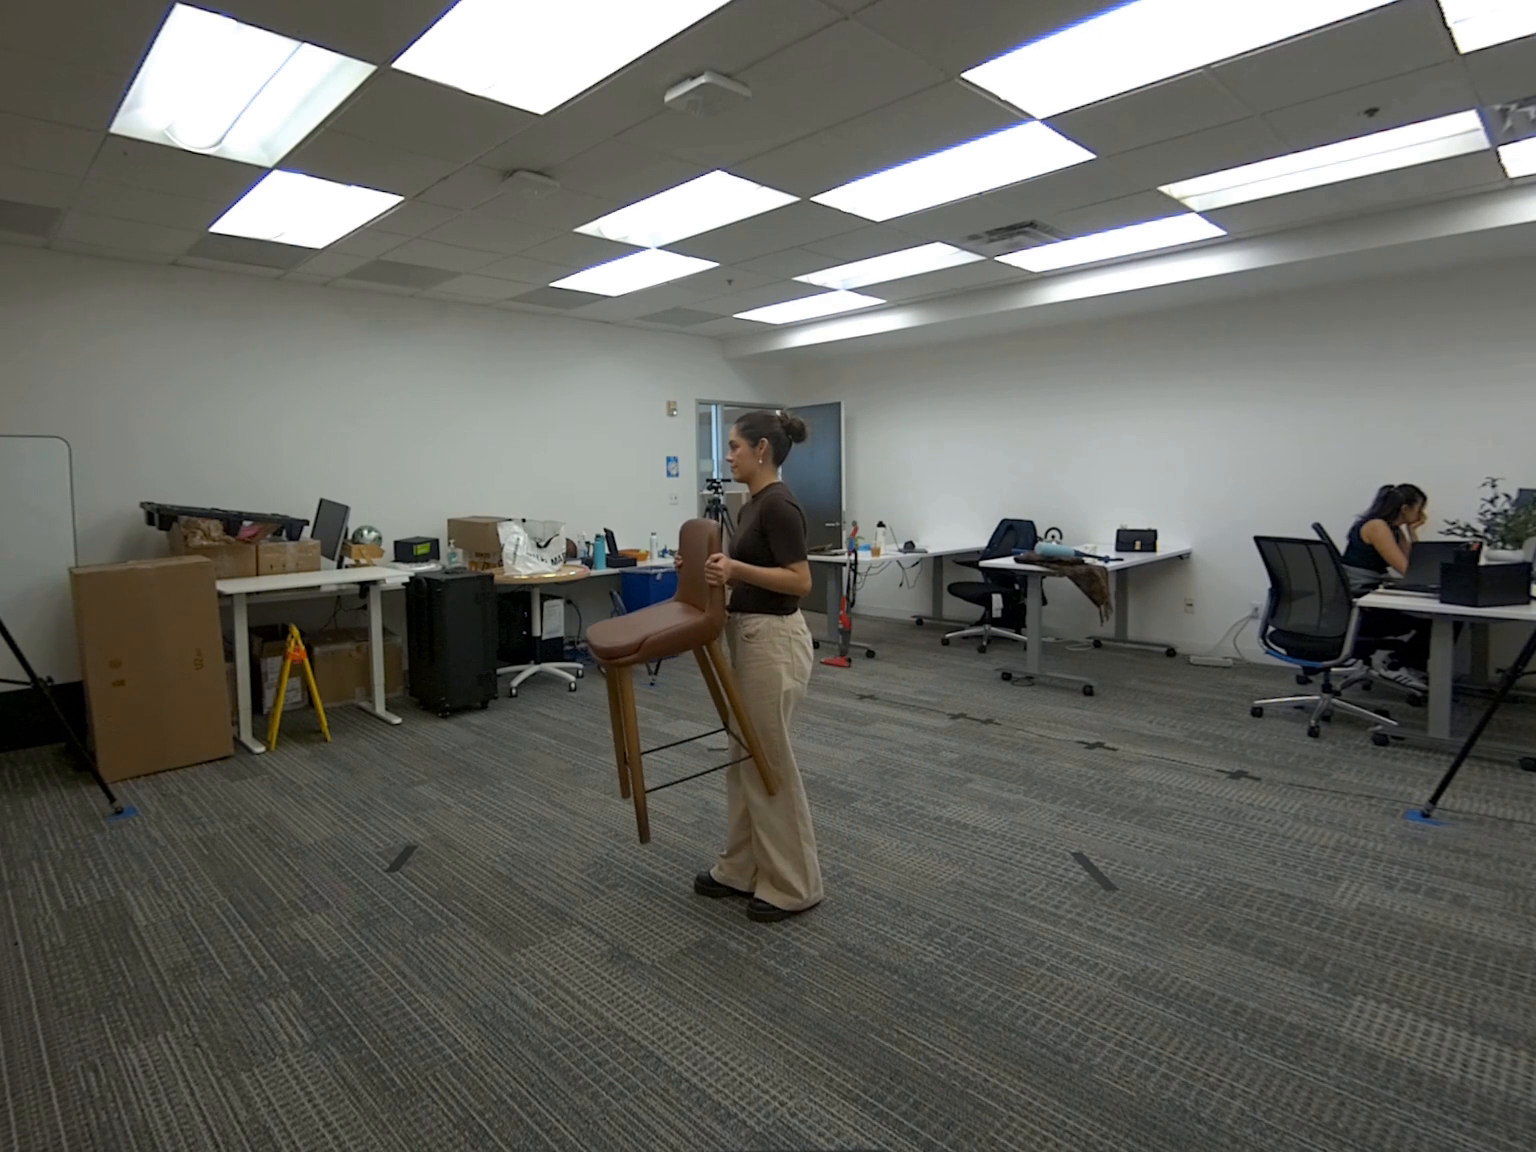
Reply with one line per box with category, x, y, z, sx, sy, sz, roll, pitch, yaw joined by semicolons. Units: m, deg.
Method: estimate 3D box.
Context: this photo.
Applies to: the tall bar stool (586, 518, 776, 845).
tall bar stool;-0.318;0.303;2.725;0.462;0.883;0.465;-13;8;-16
